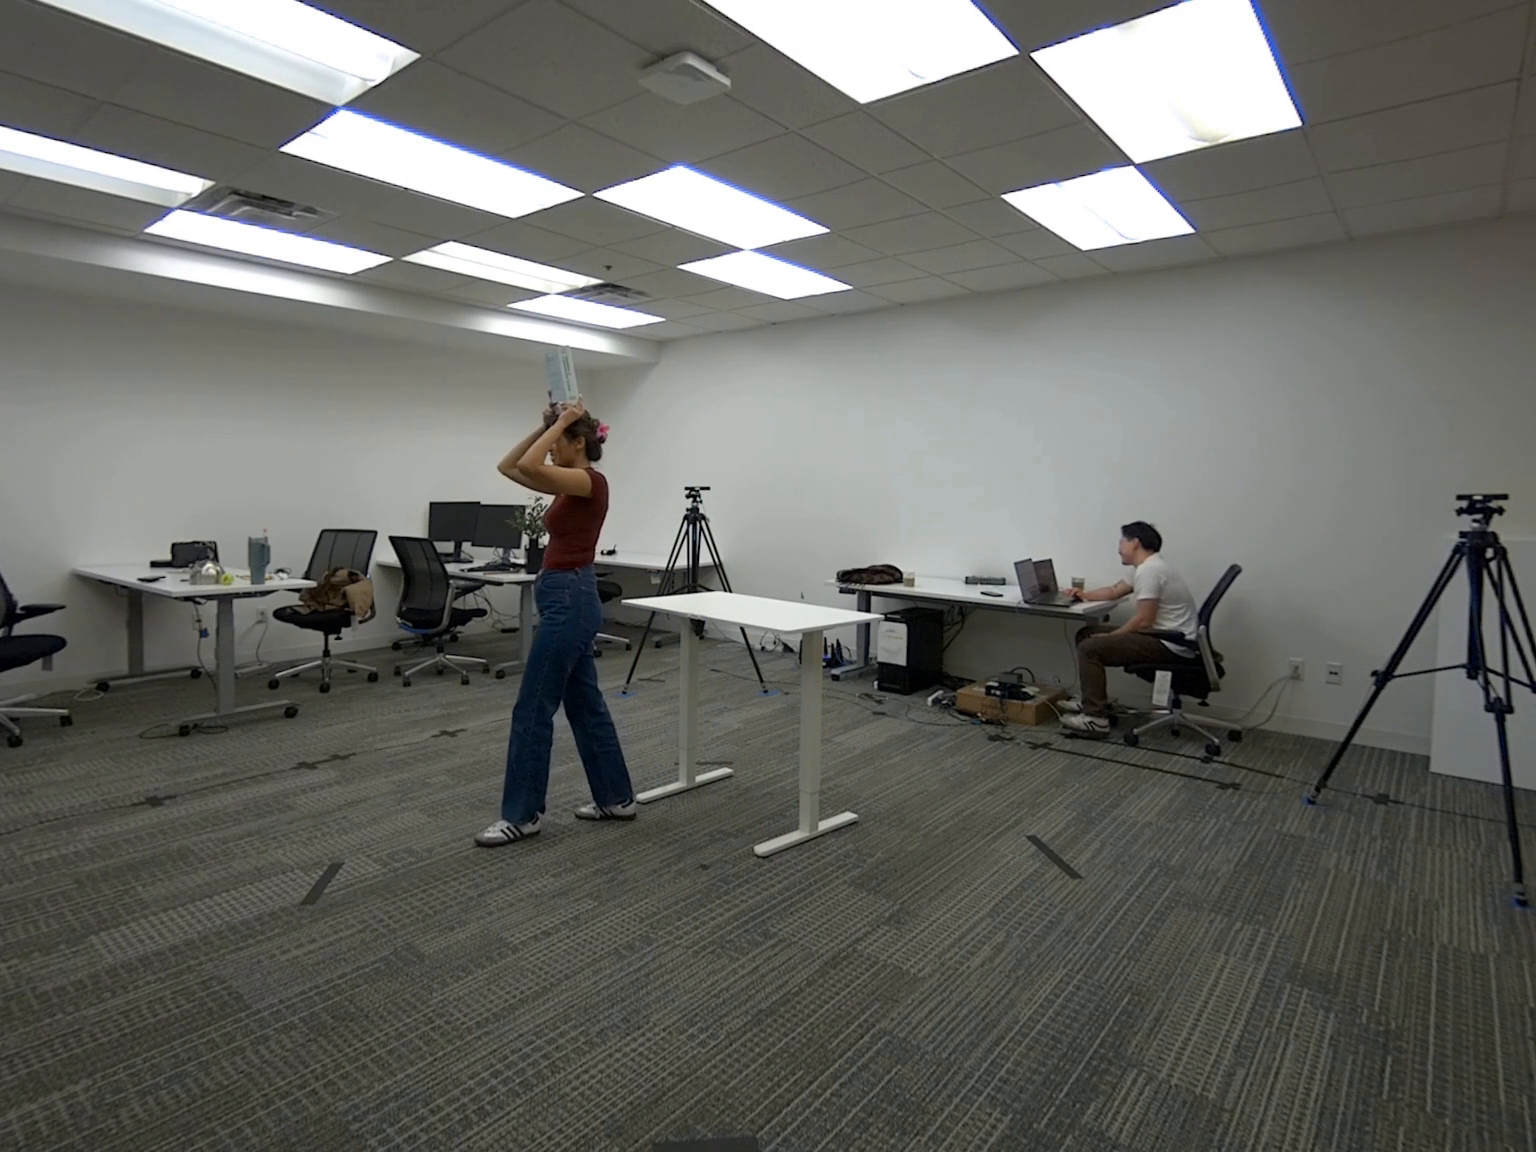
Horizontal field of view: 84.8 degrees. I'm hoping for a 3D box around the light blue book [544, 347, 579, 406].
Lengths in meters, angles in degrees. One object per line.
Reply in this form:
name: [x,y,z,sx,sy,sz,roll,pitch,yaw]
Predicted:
light blue book: [-0.839,-0.788,3.405,0.058,0.258,0.197,-14,13,-28]
